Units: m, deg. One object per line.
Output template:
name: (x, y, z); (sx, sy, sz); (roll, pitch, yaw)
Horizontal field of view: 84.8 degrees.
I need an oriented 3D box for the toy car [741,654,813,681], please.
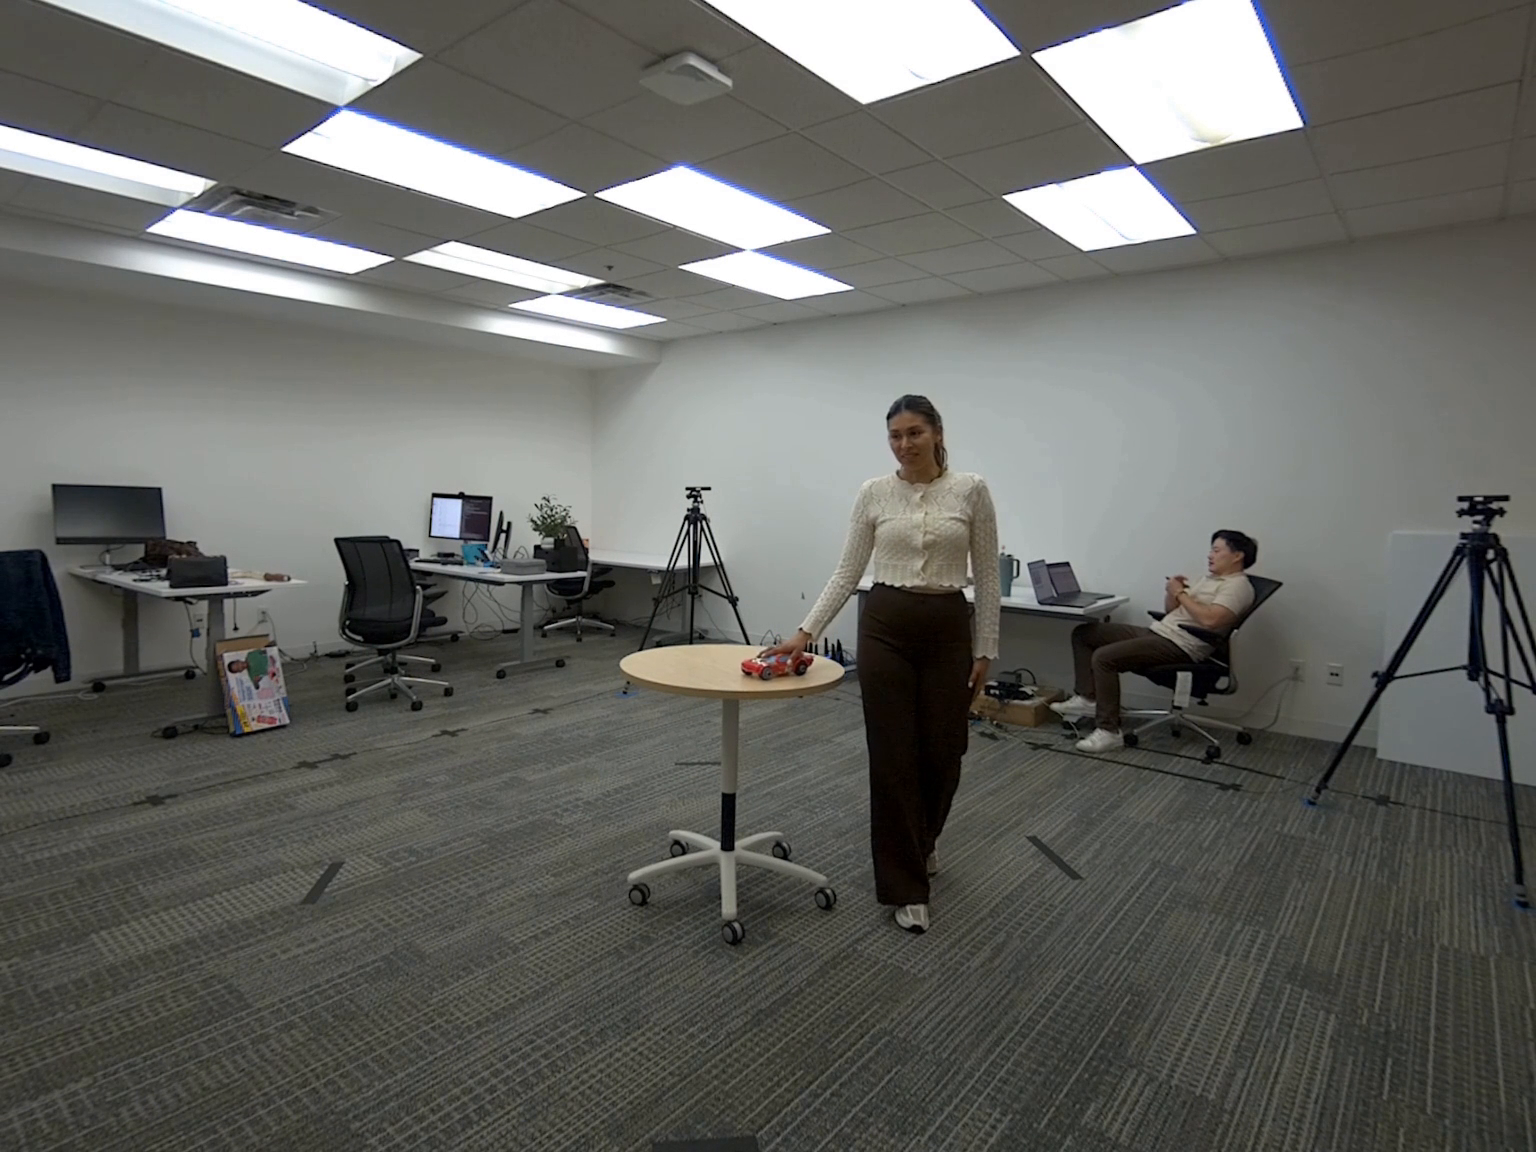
toy car: (0.030, 0.289, 2.785); (0.249, 0.082, 0.135); (-16, 15, -34)
